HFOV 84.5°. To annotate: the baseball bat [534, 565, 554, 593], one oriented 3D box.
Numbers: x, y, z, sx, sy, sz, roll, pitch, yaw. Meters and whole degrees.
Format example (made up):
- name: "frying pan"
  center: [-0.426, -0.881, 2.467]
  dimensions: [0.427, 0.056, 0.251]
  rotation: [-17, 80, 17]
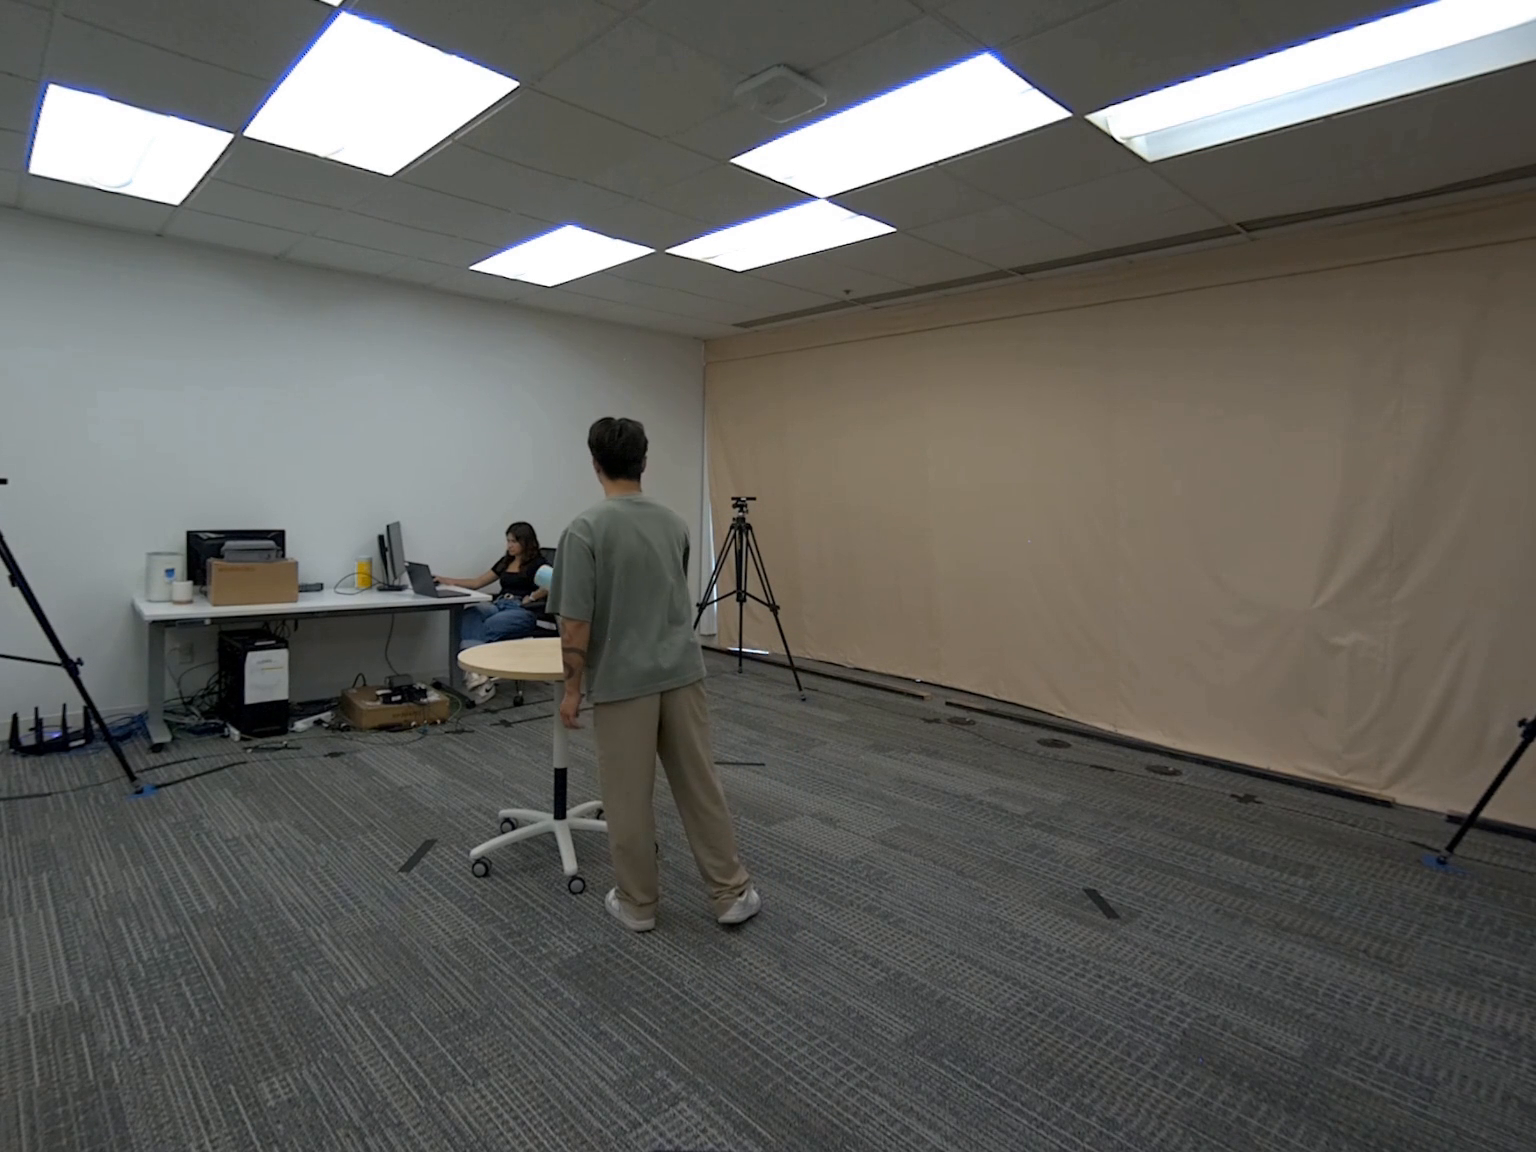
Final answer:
- name: "baseball bat"
  center: [-0.678, 0.103, 3.338]
  dimensions: [0.548, 0.089, 0.088]
  rotation: [24, 8, 9]
